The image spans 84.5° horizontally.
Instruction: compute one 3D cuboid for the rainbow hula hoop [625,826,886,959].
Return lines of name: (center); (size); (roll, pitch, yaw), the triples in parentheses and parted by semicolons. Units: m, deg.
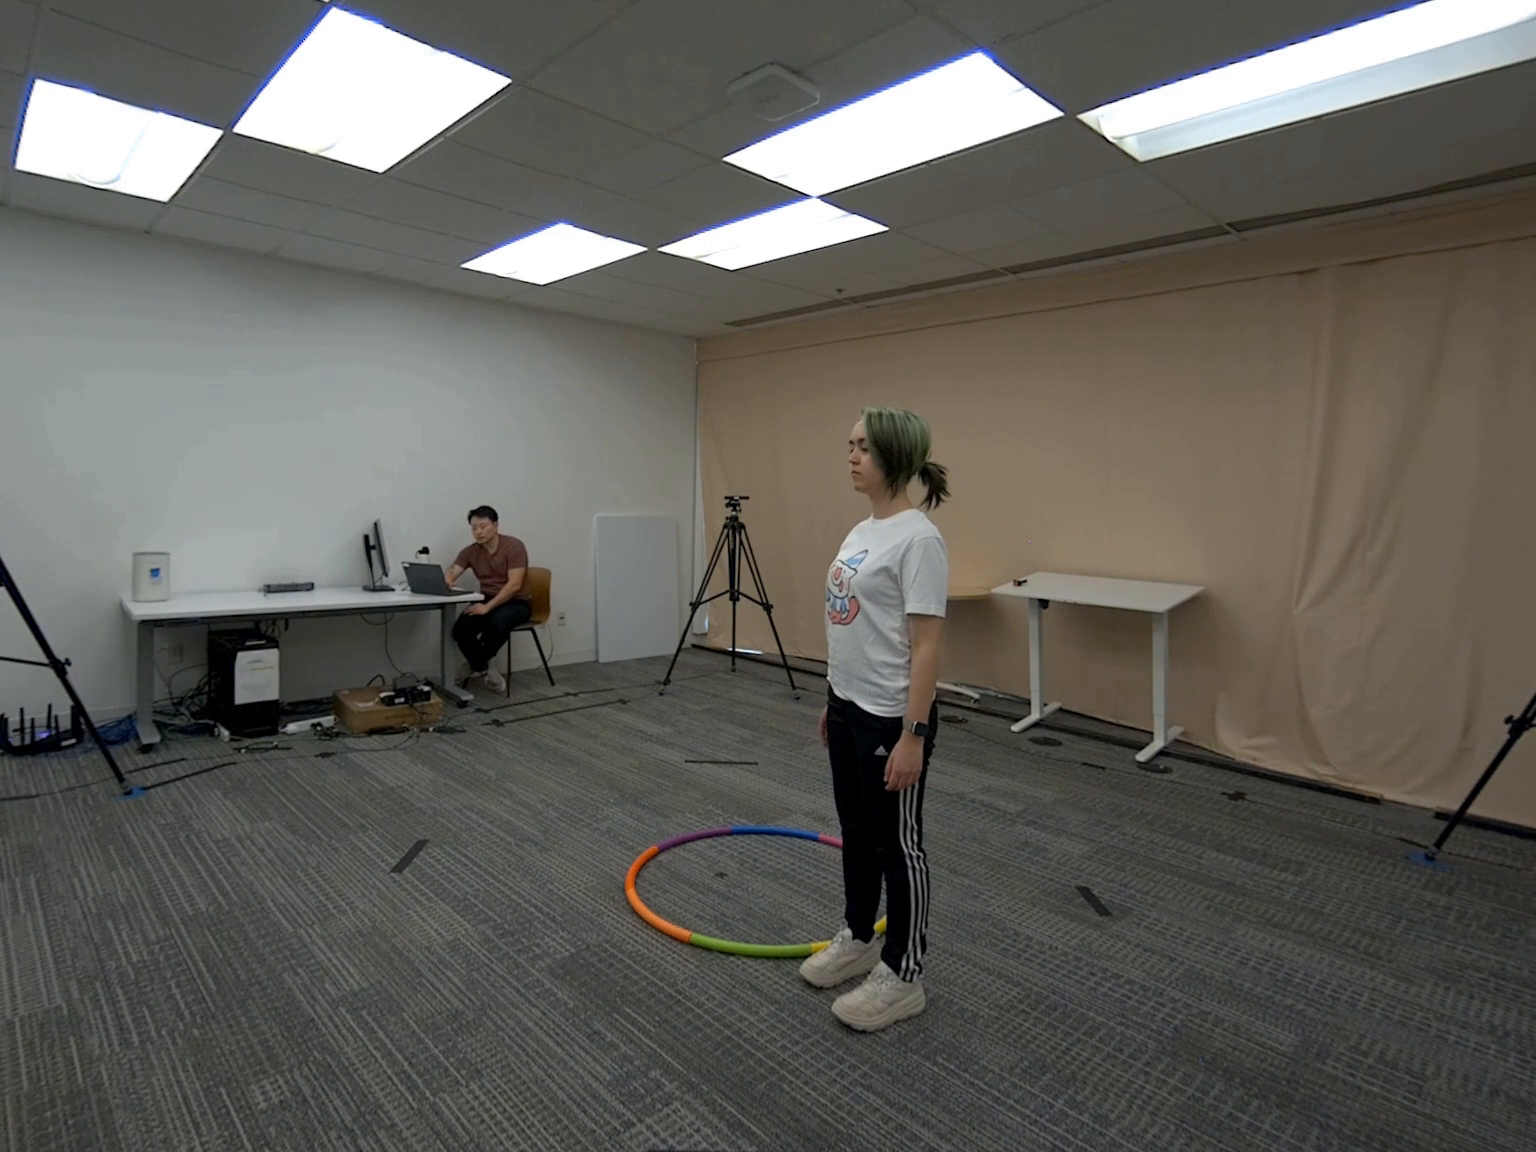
rainbow hula hoop: (-0.018, 1.082, 3.025); (0.978, 0.035, 0.982); (1, 5, -1)
